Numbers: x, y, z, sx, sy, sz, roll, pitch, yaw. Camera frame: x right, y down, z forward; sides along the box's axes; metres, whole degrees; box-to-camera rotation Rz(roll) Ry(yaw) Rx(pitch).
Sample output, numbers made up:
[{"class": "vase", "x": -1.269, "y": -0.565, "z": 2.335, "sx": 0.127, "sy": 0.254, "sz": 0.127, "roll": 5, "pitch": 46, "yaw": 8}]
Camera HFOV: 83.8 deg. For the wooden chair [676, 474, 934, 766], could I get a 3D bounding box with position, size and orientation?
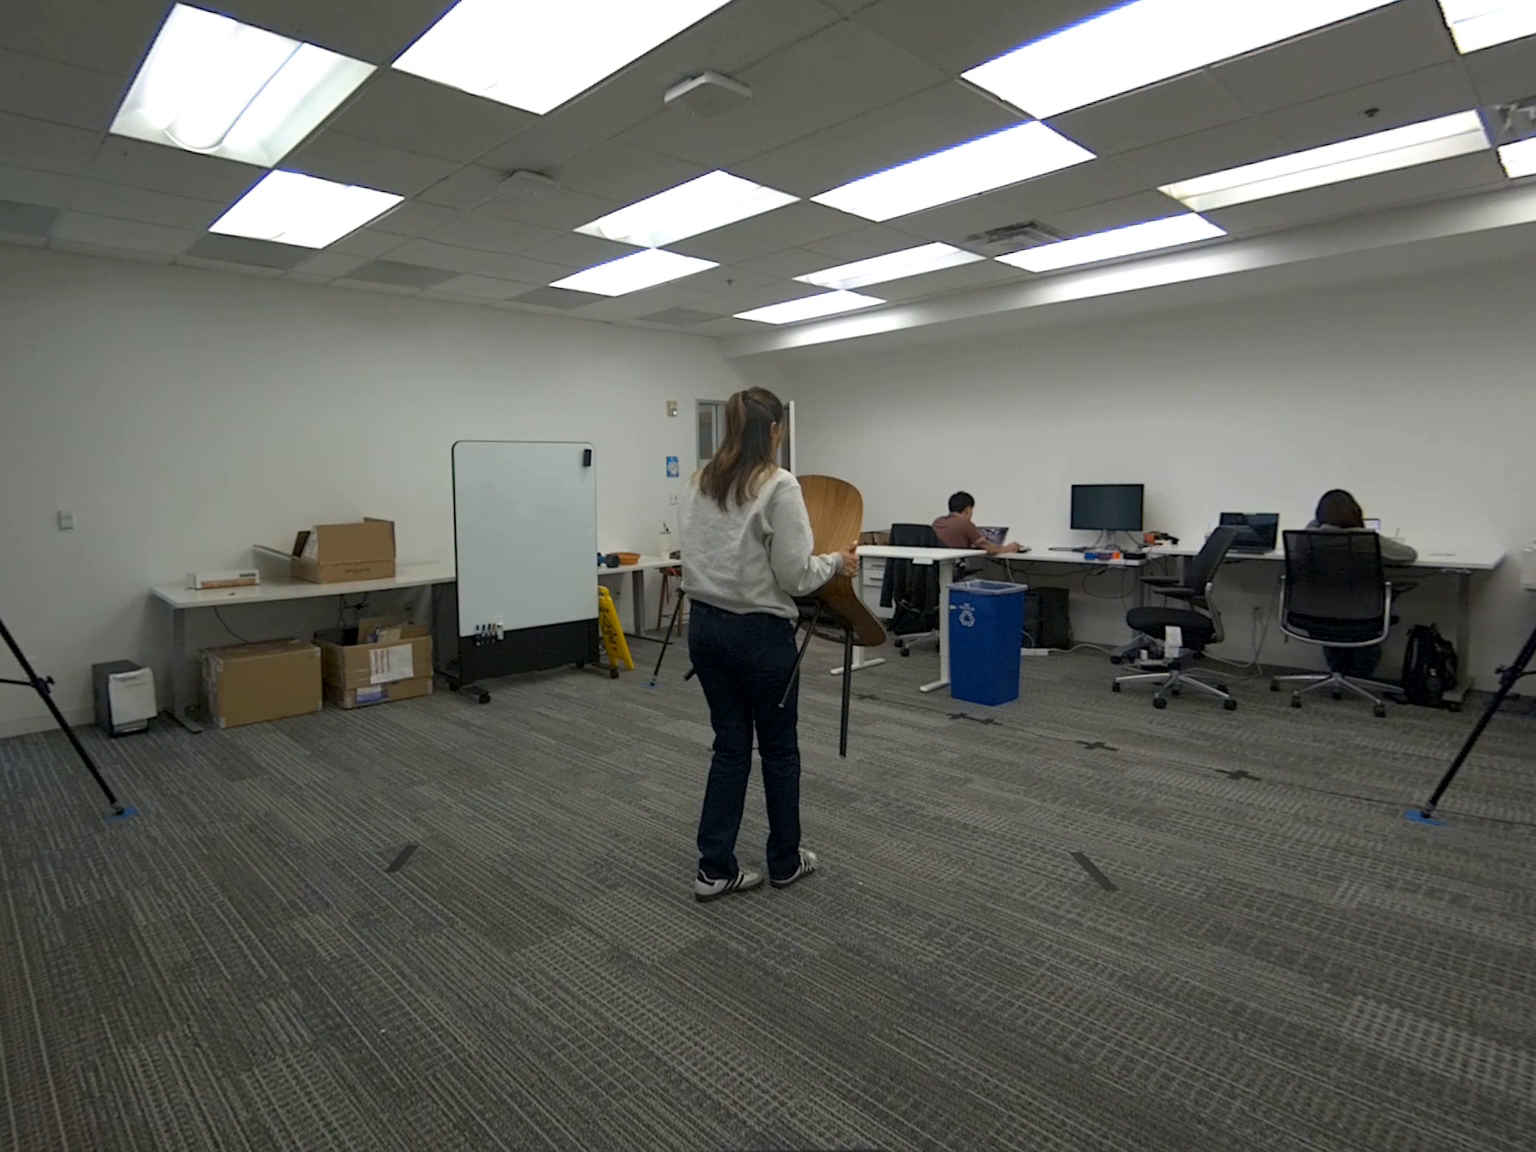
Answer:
[{"class": "wooden chair", "x": 0.155, "y": 0.138, "z": 3.151, "sx": 0.493, "sy": 0.884, "sz": 0.503, "roll": 5, "pitch": -23, "yaw": 42}]
